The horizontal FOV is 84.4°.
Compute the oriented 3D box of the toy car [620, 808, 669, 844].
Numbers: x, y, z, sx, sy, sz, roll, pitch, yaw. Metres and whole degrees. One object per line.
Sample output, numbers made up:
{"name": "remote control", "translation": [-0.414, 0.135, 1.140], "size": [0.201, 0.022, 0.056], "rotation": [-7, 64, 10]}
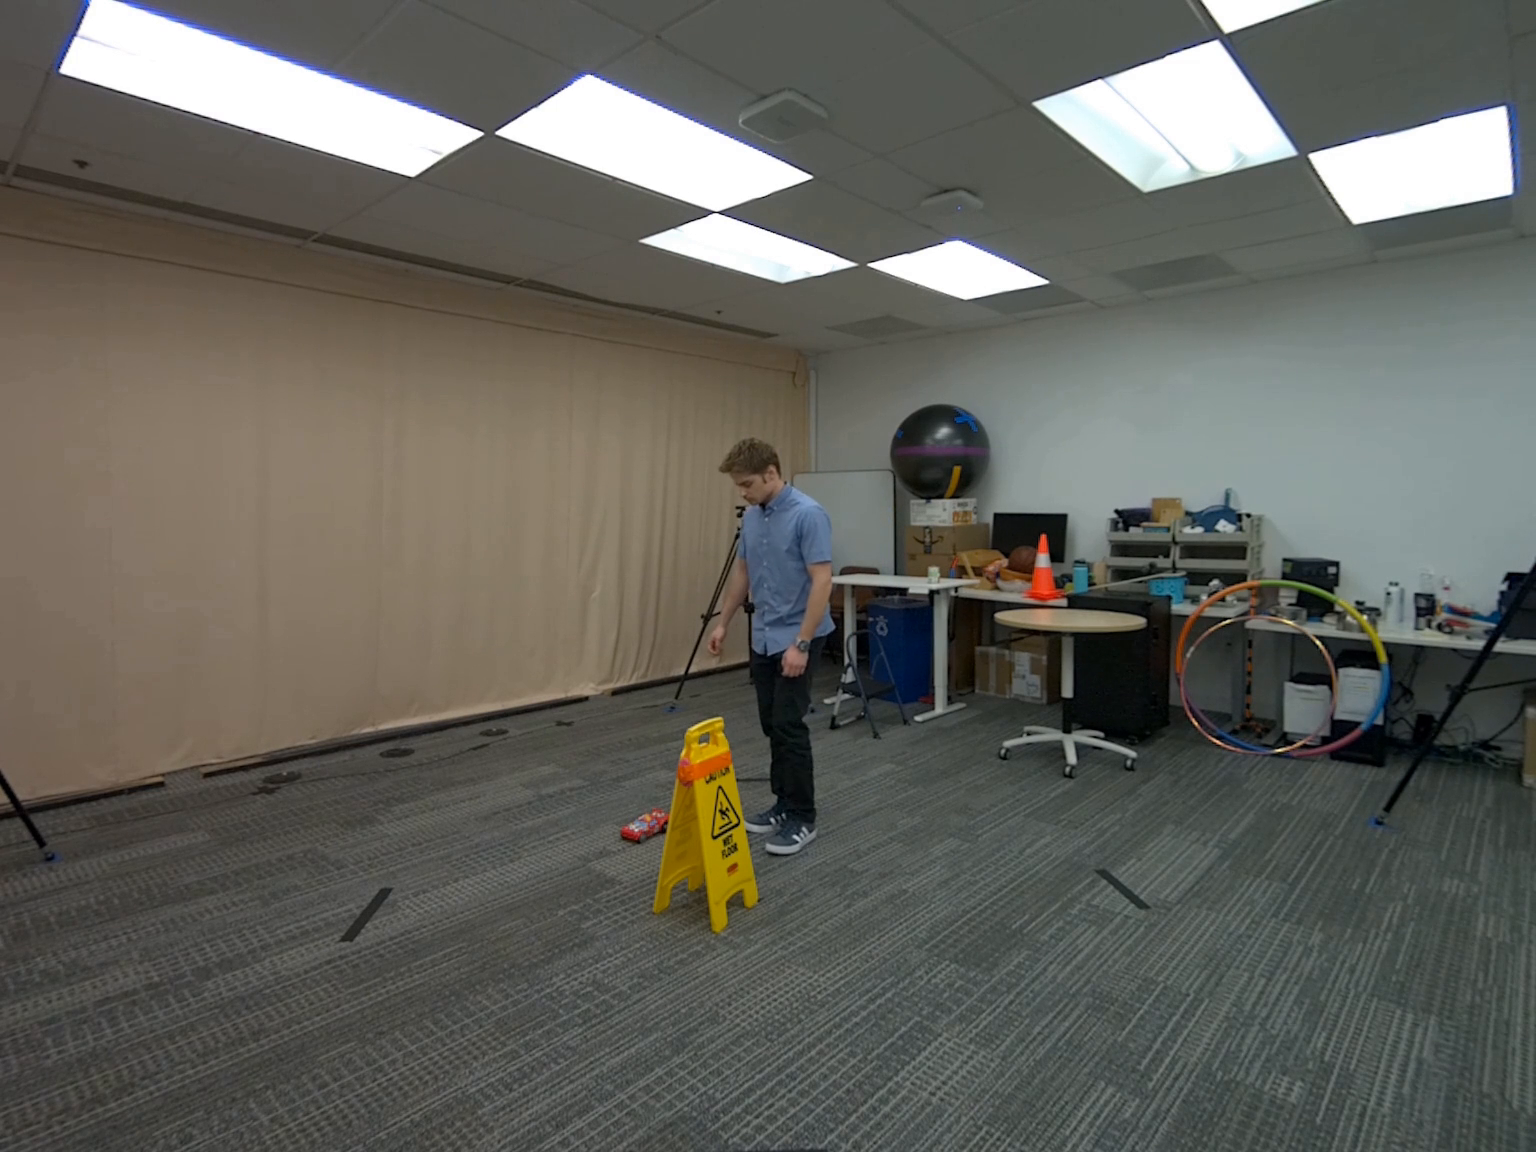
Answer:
{"name": "toy car", "translation": [-0.516, 1.069, 3.594], "size": [0.134, 0.082, 0.249], "rotation": [2, 16, 36]}
